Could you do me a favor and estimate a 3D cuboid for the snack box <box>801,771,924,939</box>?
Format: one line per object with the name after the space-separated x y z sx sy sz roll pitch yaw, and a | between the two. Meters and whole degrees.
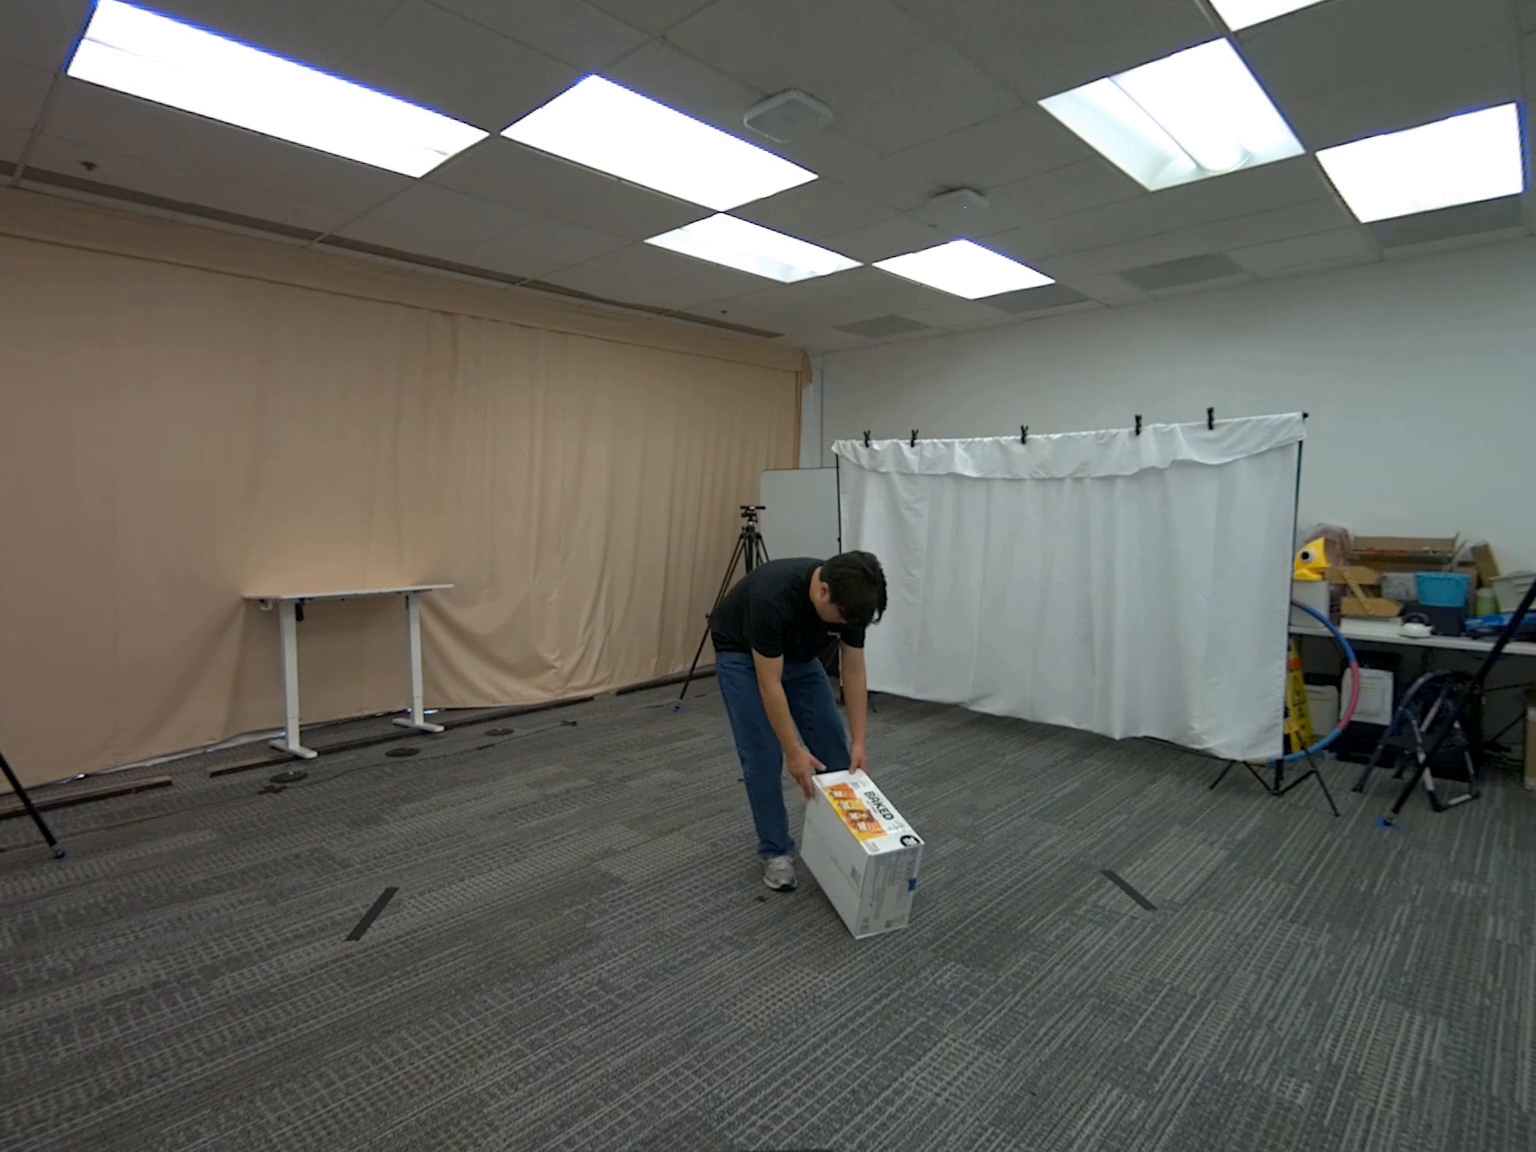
0.312 0.928 2.851 0.201 0.337 0.418 -4 23 -24 | snack box
